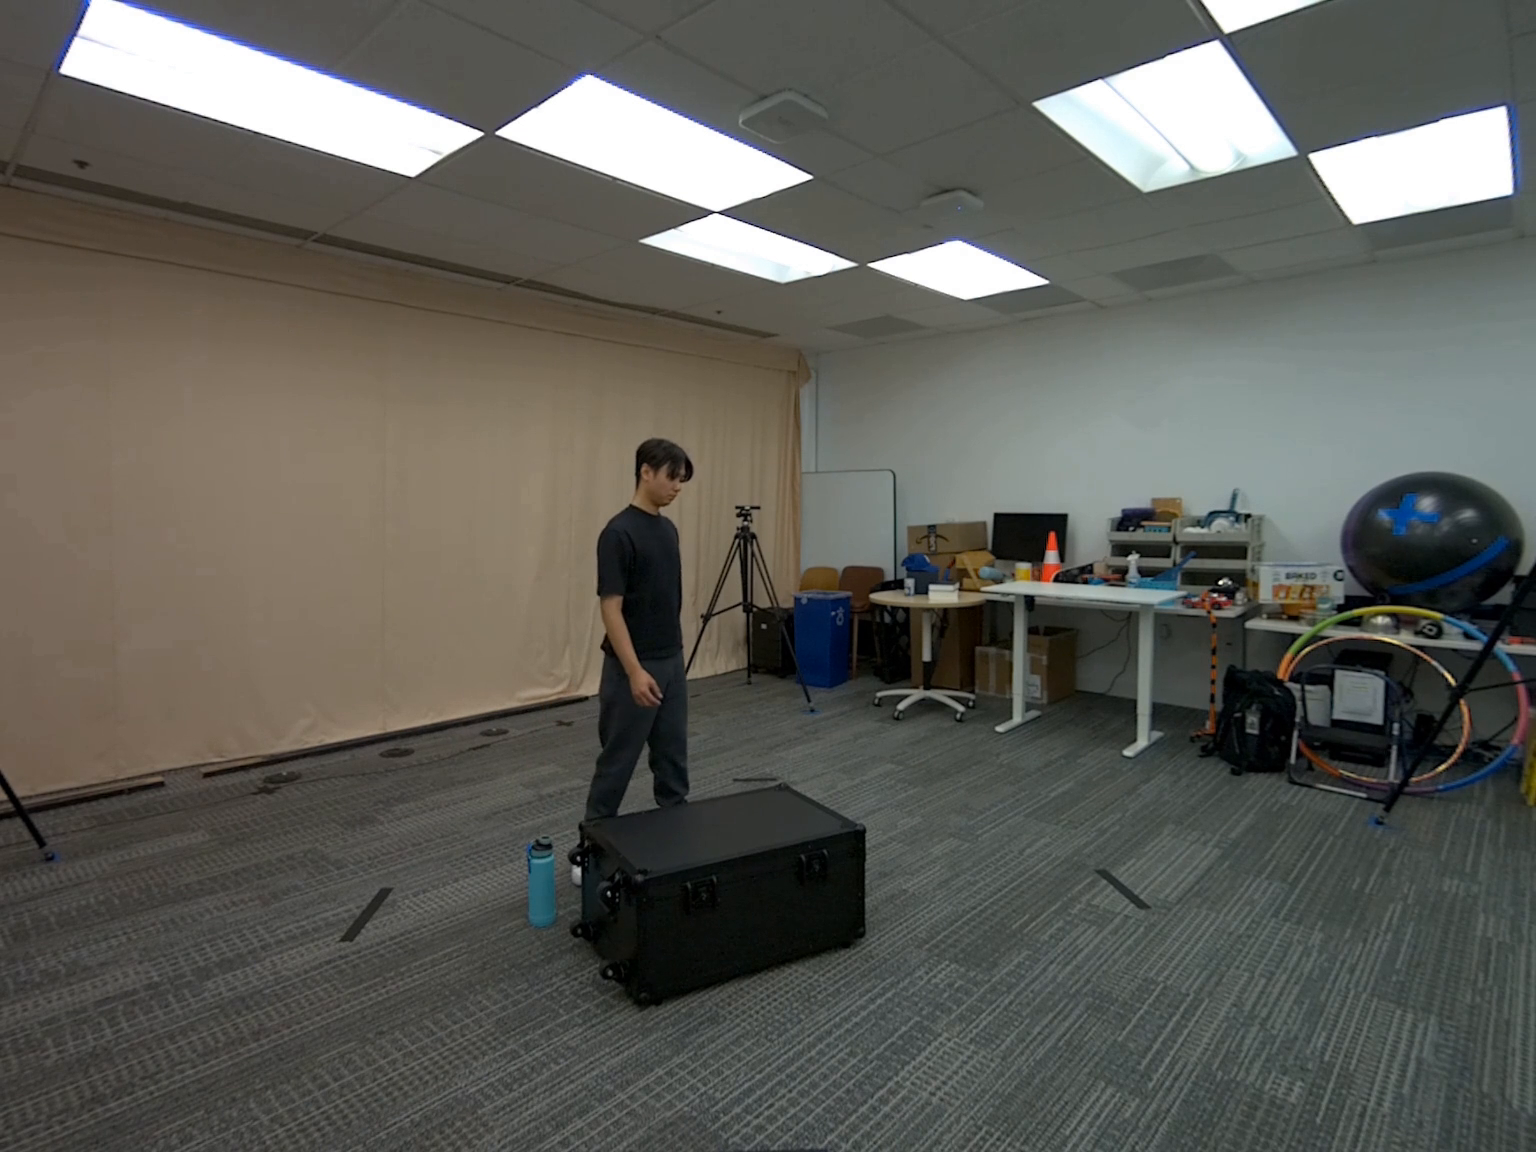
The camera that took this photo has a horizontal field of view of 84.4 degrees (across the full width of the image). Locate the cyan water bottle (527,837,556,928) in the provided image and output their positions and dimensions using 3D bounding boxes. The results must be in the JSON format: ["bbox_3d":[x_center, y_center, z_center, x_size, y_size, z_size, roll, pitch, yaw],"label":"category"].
[{"bbox_3d":[-0.764,1.019,2.837,0.092,0.282,0.093,-2,4,-2],"label":"cyan water bottle"}]
